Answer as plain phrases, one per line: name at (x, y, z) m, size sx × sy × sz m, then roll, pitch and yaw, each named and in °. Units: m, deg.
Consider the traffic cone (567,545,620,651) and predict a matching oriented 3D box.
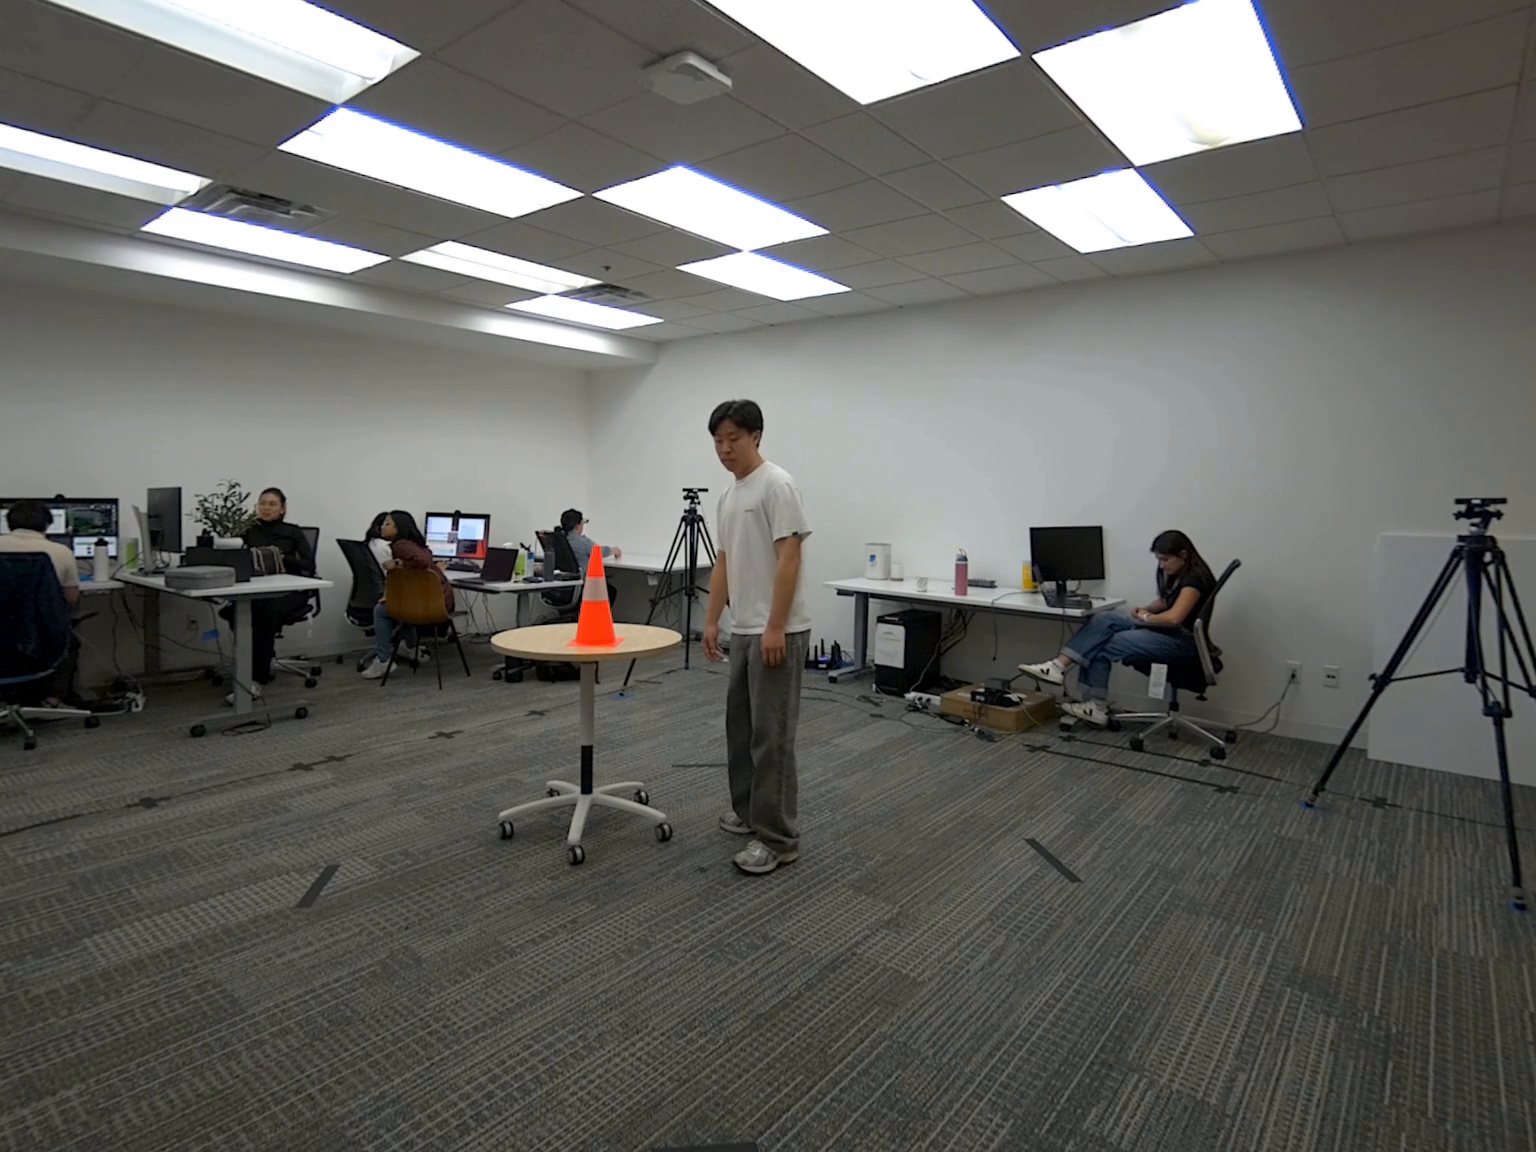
traffic cone at (-0.675, 0.066, 3.334) m, size 0.205 × 0.382 × 0.203 m, roll 2°, pitch 3°, yaw 1°
